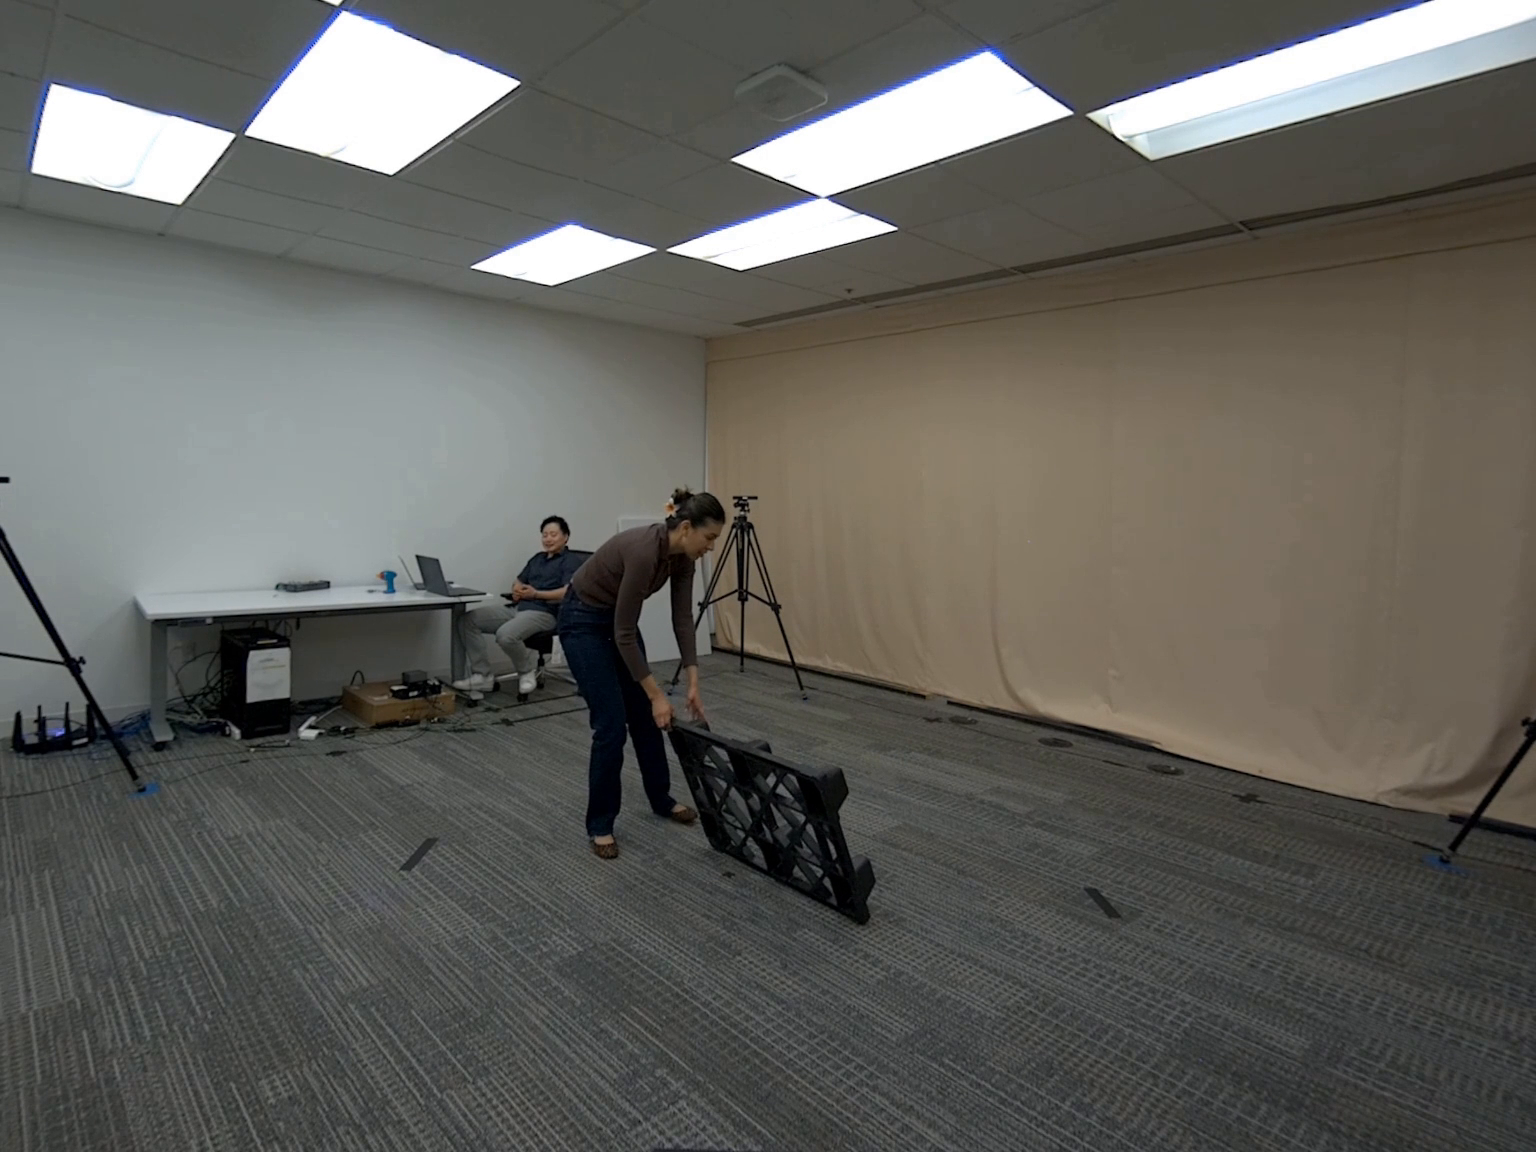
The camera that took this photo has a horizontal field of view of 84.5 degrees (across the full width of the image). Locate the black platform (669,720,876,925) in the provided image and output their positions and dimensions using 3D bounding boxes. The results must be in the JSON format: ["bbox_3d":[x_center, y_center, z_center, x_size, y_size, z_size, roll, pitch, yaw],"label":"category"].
[{"bbox_3d":[0.009,0.825,2.980,0.142,0.594,0.826,-31,24,-35],"label":"black platform"}]
